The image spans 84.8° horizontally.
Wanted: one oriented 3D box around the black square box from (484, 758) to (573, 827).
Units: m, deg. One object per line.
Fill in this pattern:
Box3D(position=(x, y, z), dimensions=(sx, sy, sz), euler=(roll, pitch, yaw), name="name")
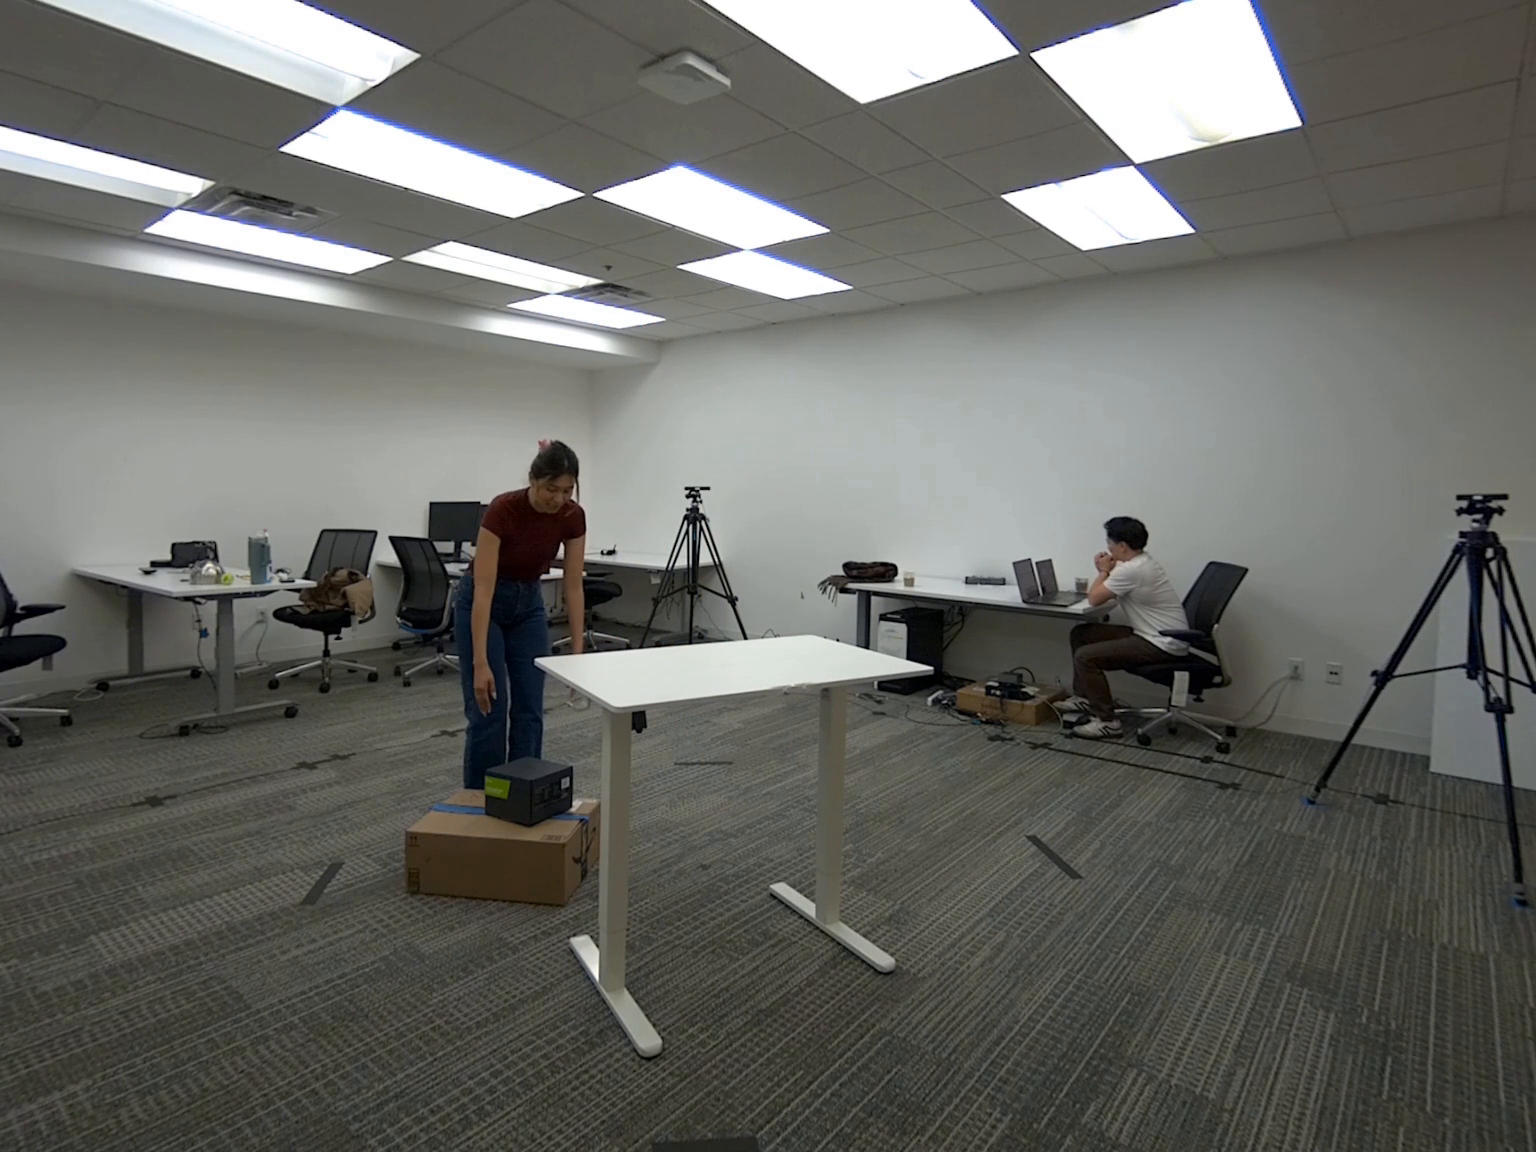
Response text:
Box3D(position=(-0.870, 0.759, 3.052), dimensions=(0.234, 0.156, 0.211), euler=(2, 3, 30), name="black square box")
